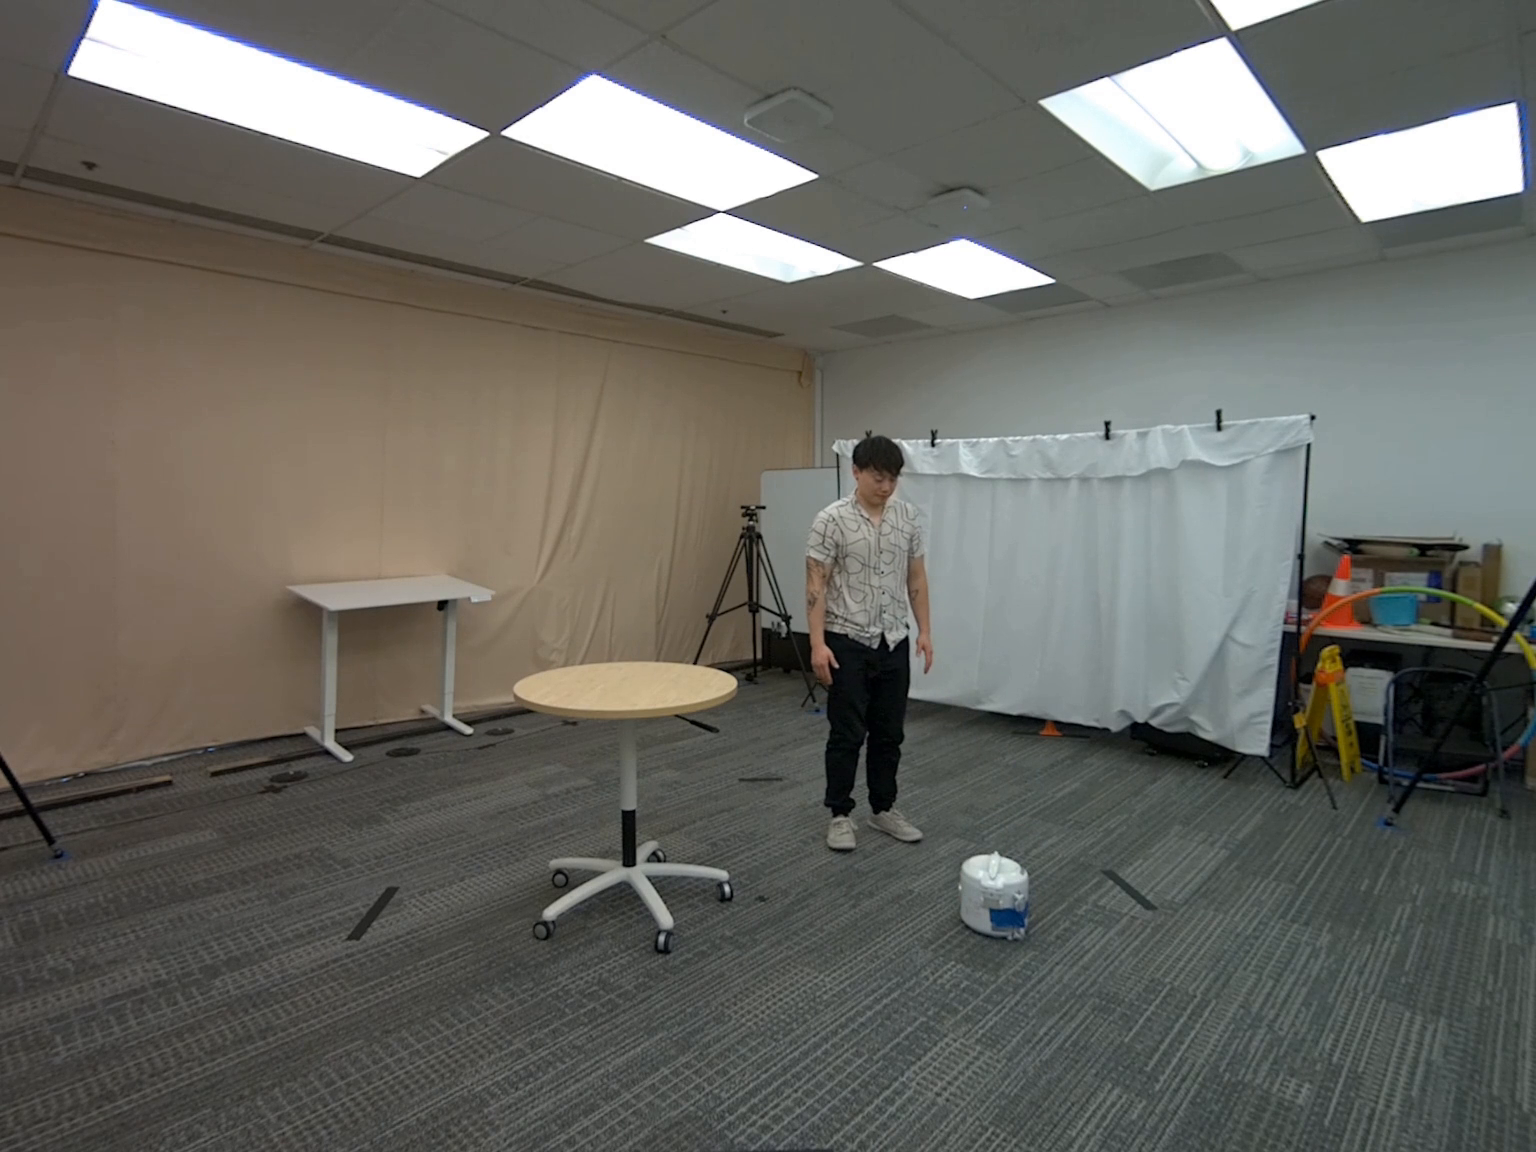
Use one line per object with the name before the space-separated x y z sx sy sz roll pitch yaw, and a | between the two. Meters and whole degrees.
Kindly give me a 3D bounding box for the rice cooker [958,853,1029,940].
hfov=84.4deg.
rice cooker | 0.742 1.036 2.781 0.222 0.232 0.216 2 5 21
